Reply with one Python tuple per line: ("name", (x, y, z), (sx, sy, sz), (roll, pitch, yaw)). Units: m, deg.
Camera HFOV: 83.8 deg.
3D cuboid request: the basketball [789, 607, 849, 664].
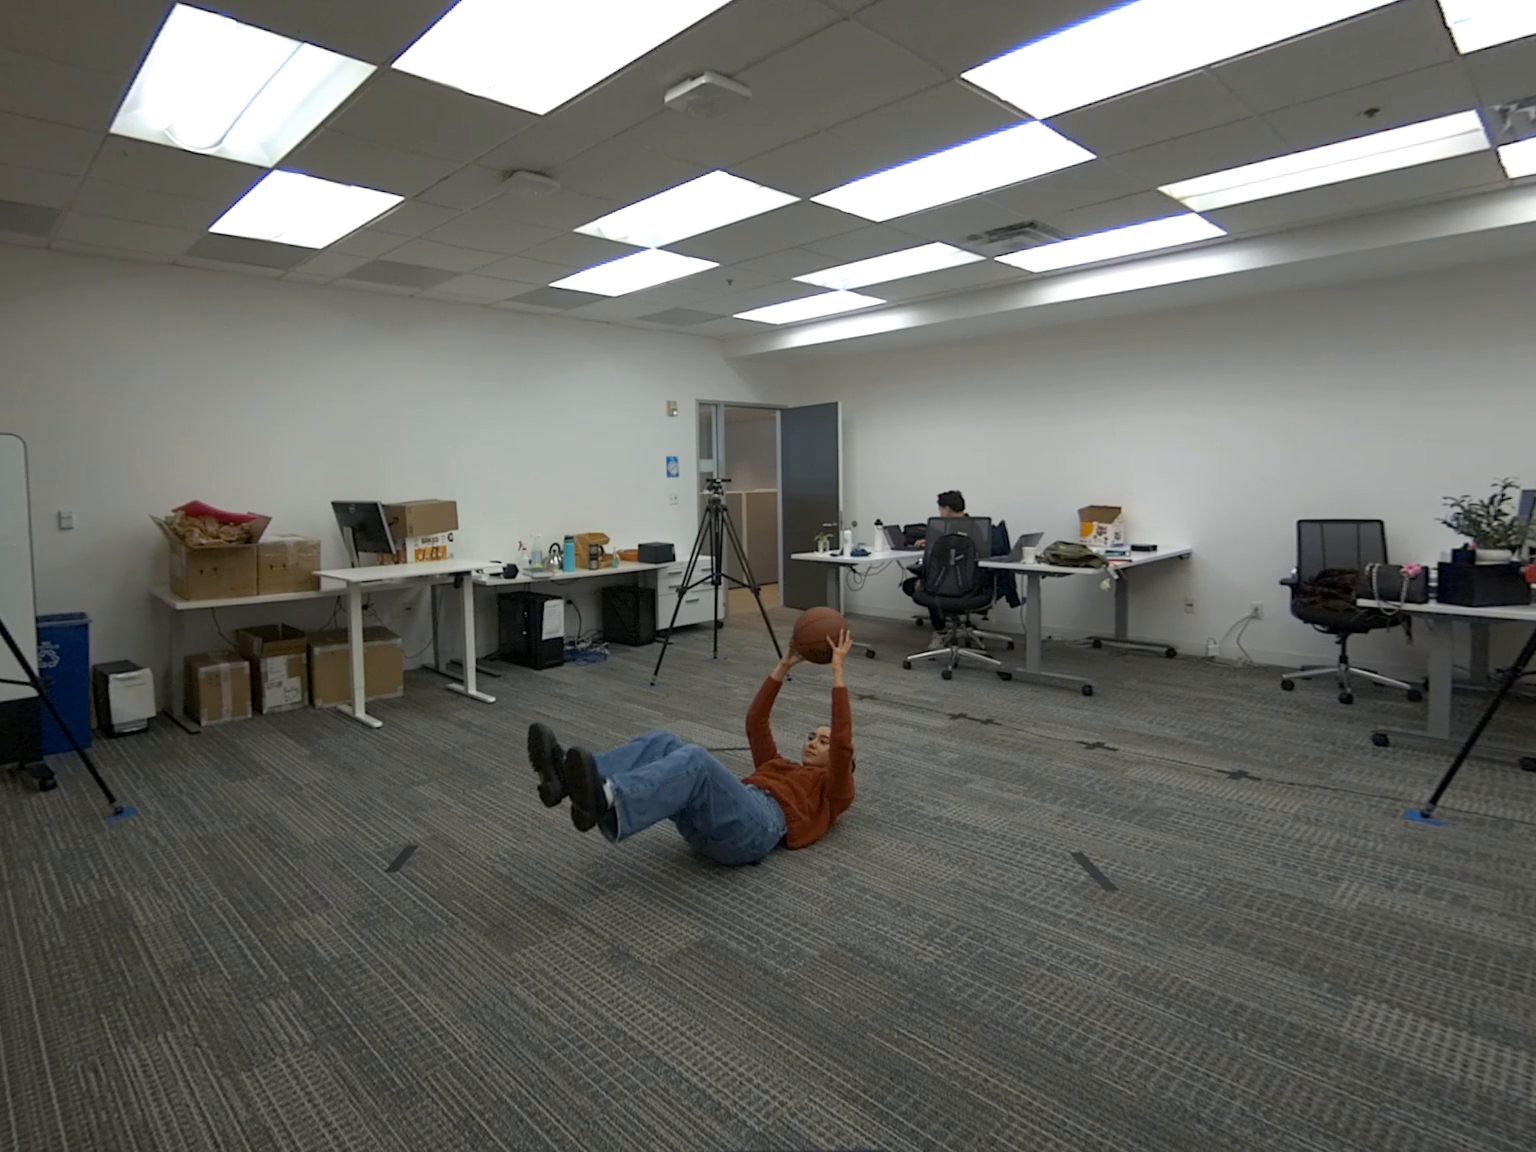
("basketball", (0.224, 0.256, 3.522), (0.236, 0.236, 0.236), (0, 1, -2))
